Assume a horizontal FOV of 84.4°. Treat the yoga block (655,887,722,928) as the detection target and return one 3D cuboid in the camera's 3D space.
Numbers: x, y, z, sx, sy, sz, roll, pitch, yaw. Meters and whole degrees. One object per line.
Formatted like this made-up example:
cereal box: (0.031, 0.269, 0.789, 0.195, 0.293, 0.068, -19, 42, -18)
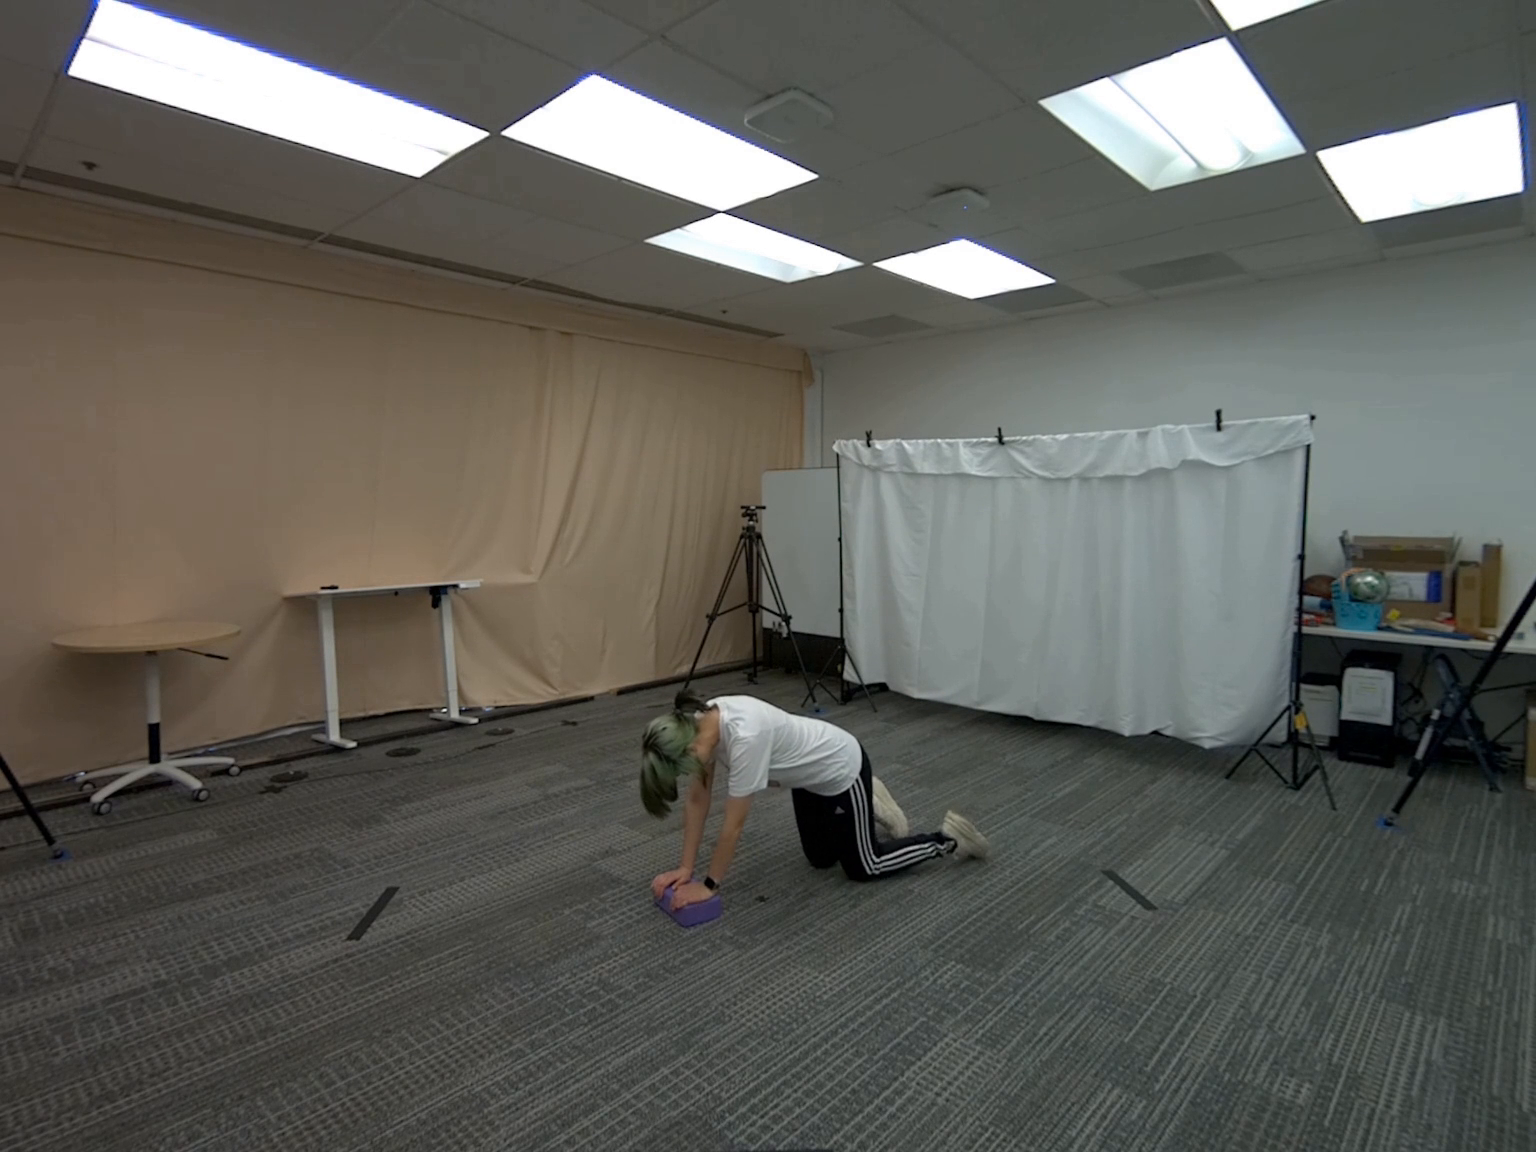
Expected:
yoga block: (-0.277, 1.113, 2.898, 0.145, 0.076, 0.236, -4, 5, -35)
